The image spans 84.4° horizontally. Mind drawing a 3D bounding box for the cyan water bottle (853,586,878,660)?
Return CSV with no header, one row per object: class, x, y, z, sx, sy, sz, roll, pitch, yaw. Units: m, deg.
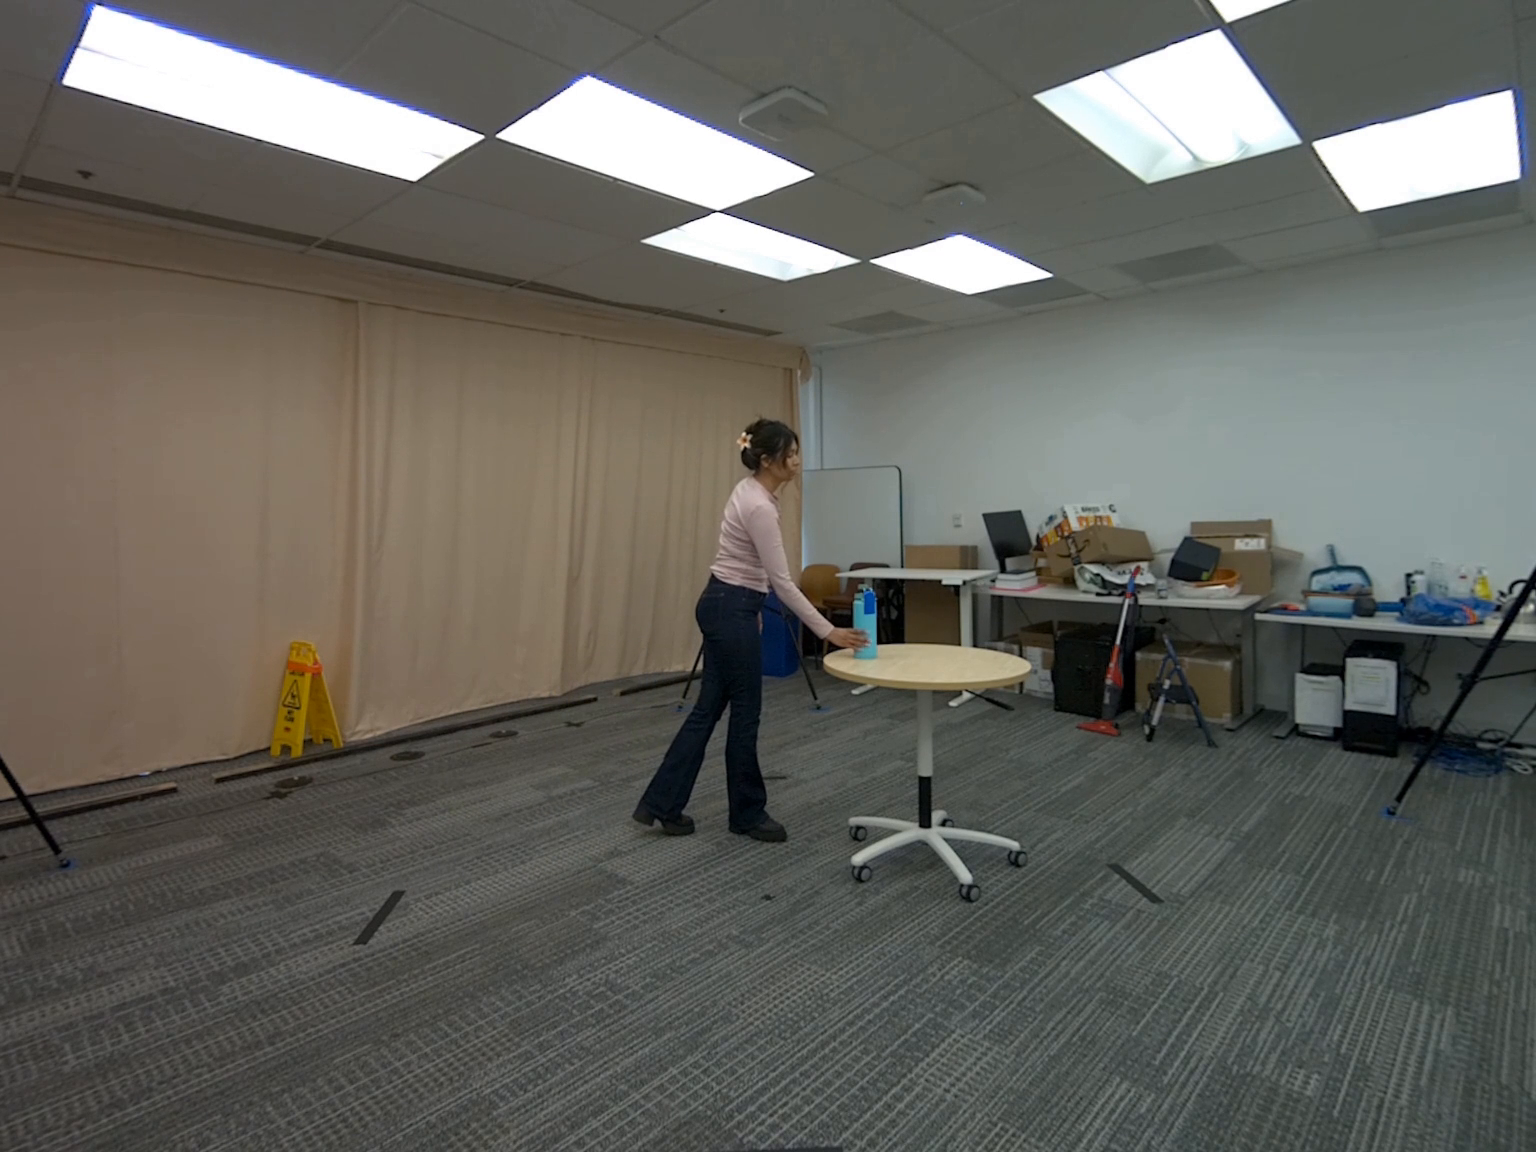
cyan water bottle,0.391,0.180,3.305,0.092,0.283,0.092,-2,3,-2
